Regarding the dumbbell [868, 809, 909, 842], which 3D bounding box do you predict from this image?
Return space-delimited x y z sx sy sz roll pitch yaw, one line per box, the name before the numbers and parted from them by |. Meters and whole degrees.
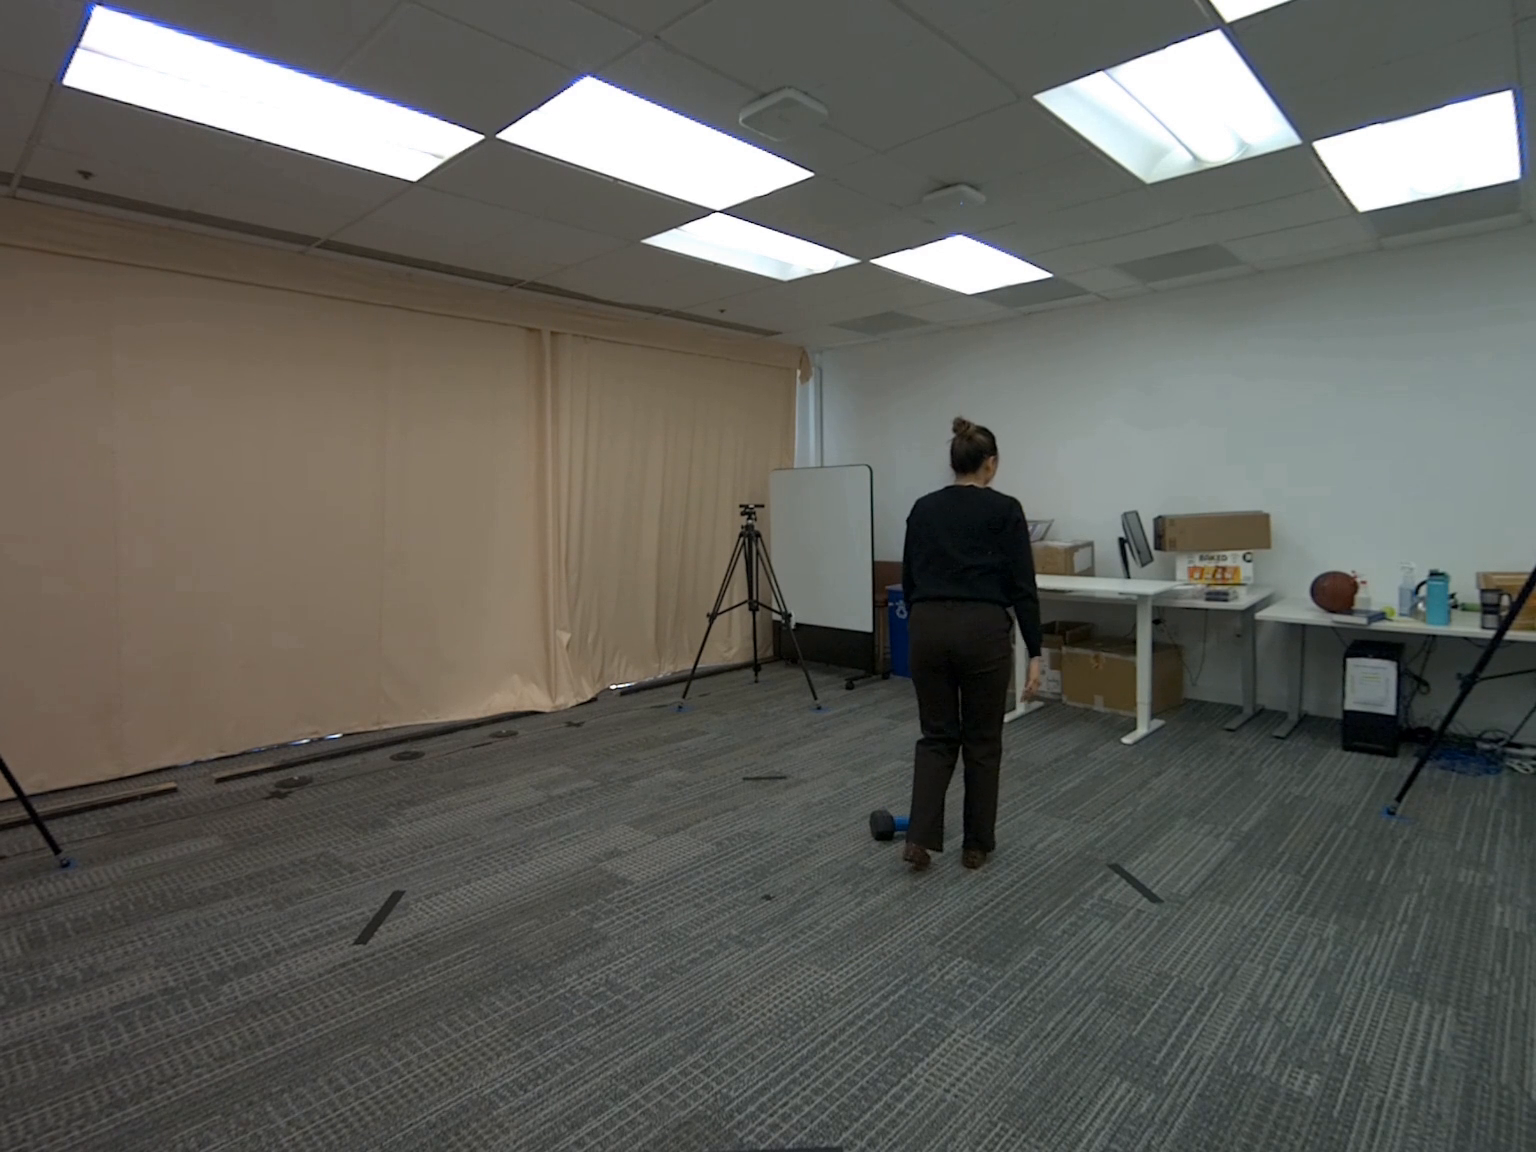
dumbbell | 0.582 1.034 3.508 0.291 0.125 0.108 -1 -24 -7
